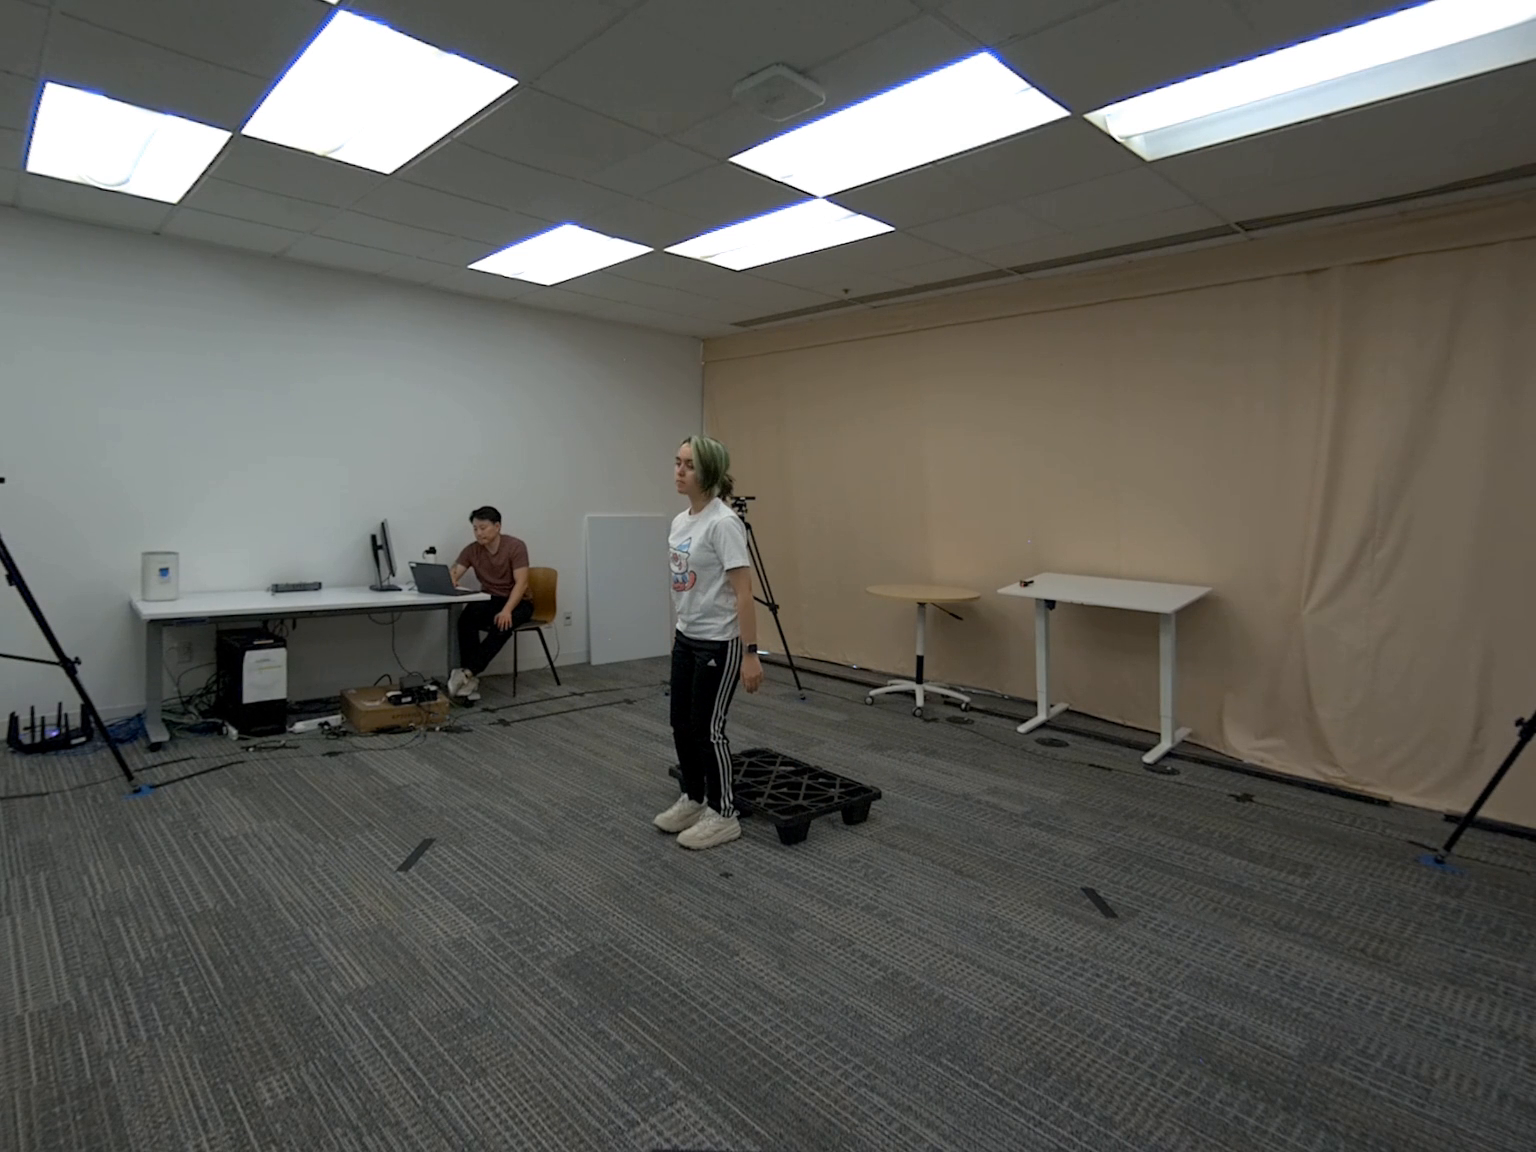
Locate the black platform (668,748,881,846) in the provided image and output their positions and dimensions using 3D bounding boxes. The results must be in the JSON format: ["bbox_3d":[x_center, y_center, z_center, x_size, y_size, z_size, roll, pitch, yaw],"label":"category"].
[{"bbox_3d":[0.006,0.981,3.802,0.591,0.143,0.826,-3,7,-40],"label":"black platform"}]
